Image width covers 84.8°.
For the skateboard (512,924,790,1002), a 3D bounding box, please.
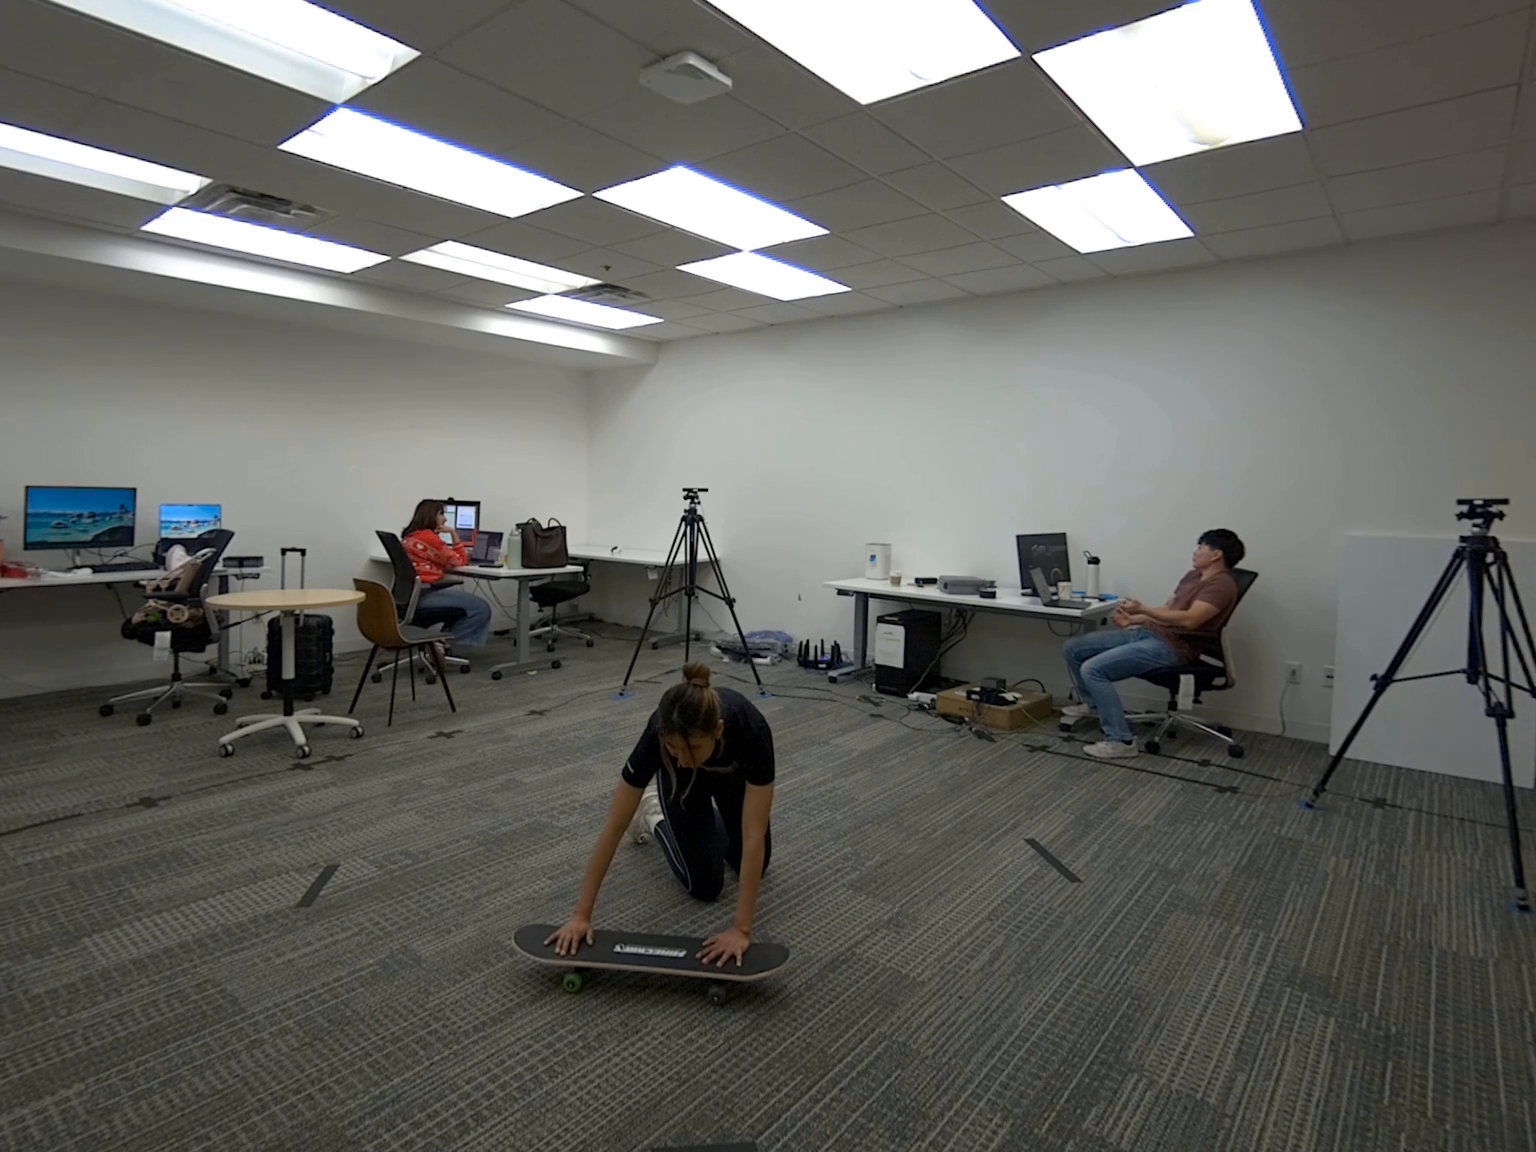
[{"bbox_3d":[-0.337,1.079,2.395,0.790,0.110,0.193,1,4,5],"label":"skateboard"}]
